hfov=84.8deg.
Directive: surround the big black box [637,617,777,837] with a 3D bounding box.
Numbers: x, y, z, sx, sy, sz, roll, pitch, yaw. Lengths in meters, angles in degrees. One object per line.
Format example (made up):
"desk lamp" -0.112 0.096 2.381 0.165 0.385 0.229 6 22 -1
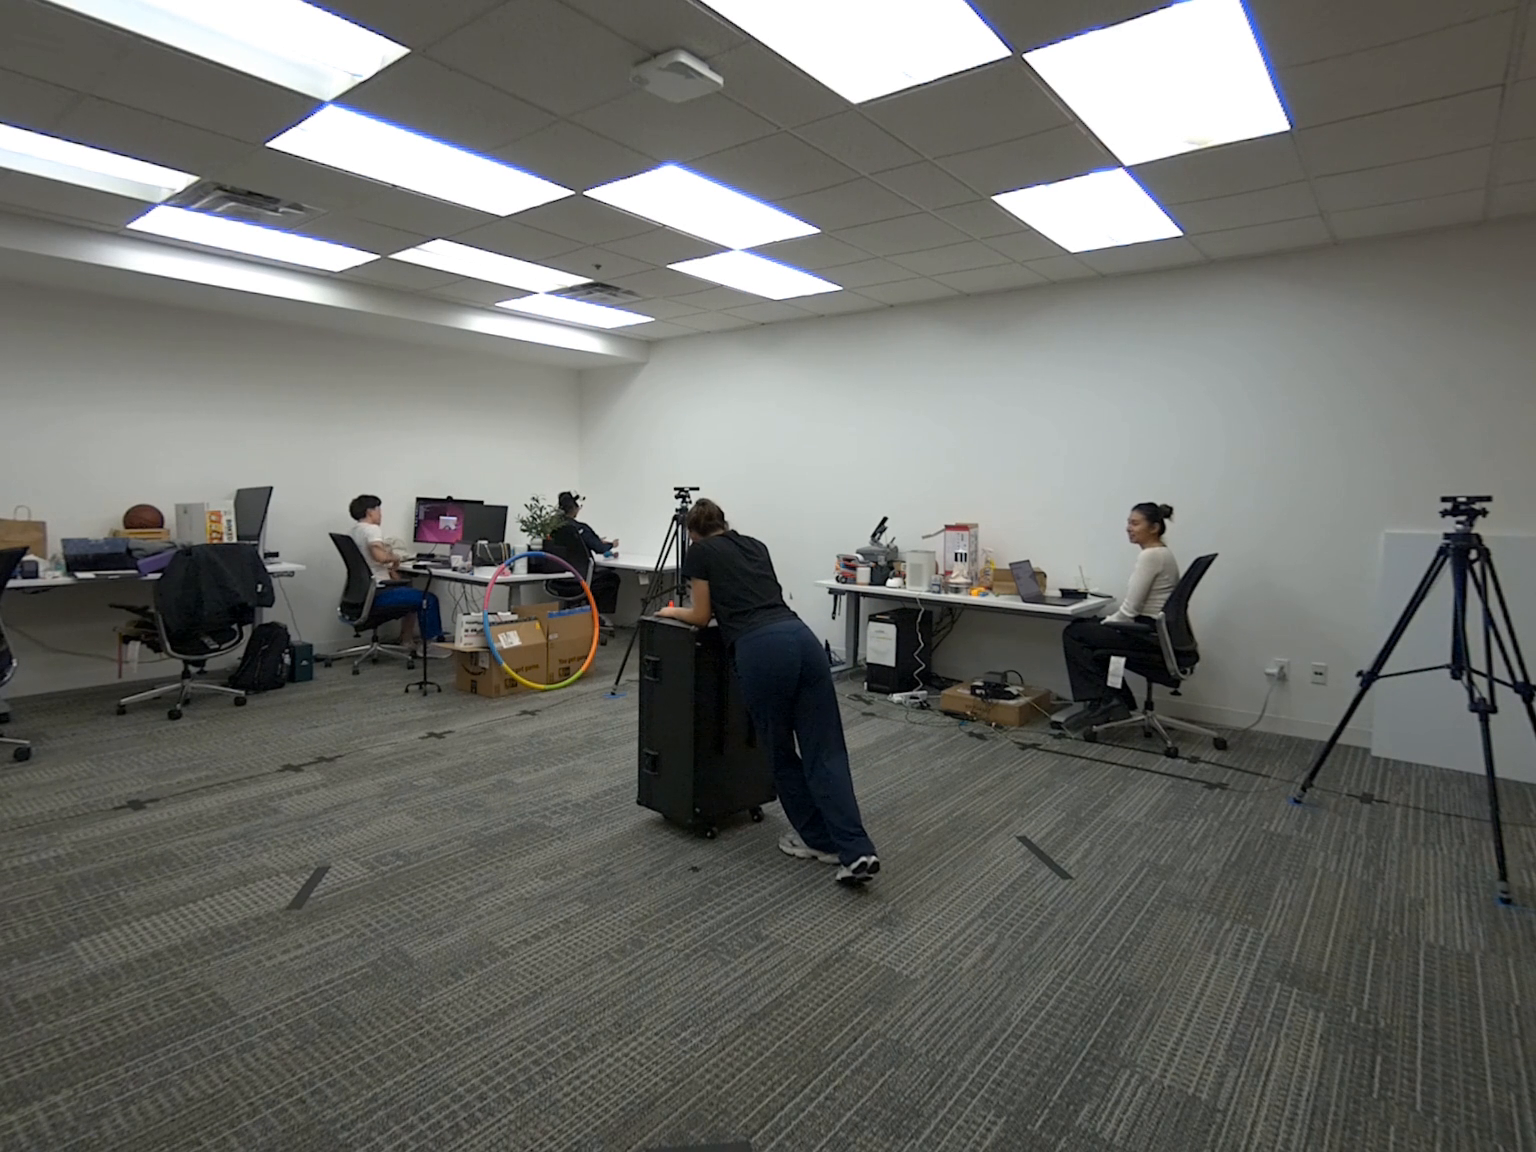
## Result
"big black box" -0.229 0.539 3.570 0.505 0.859 0.410 -2 4 -44
